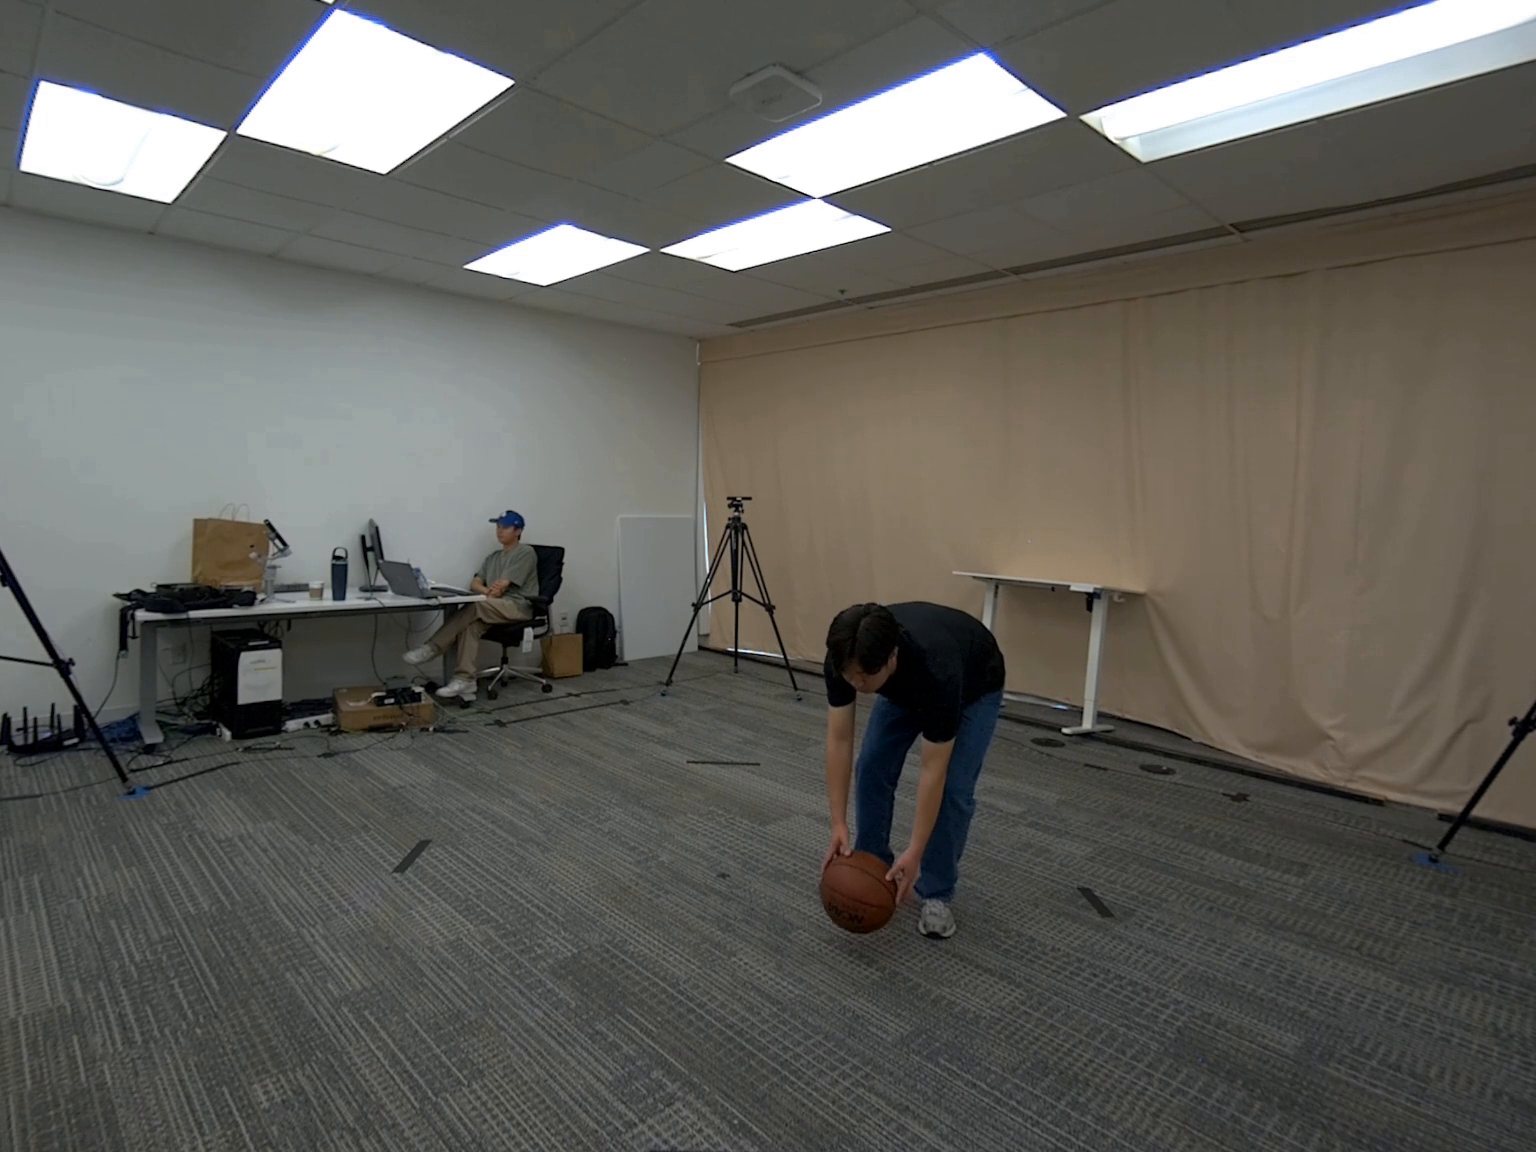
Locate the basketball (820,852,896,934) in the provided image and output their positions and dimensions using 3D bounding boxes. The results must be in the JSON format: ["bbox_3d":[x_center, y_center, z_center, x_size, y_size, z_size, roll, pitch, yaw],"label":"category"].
[{"bbox_3d":[0.273,0.970,2.603,0.236,0.235,0.237,1,4,-1],"label":"basketball"}]
